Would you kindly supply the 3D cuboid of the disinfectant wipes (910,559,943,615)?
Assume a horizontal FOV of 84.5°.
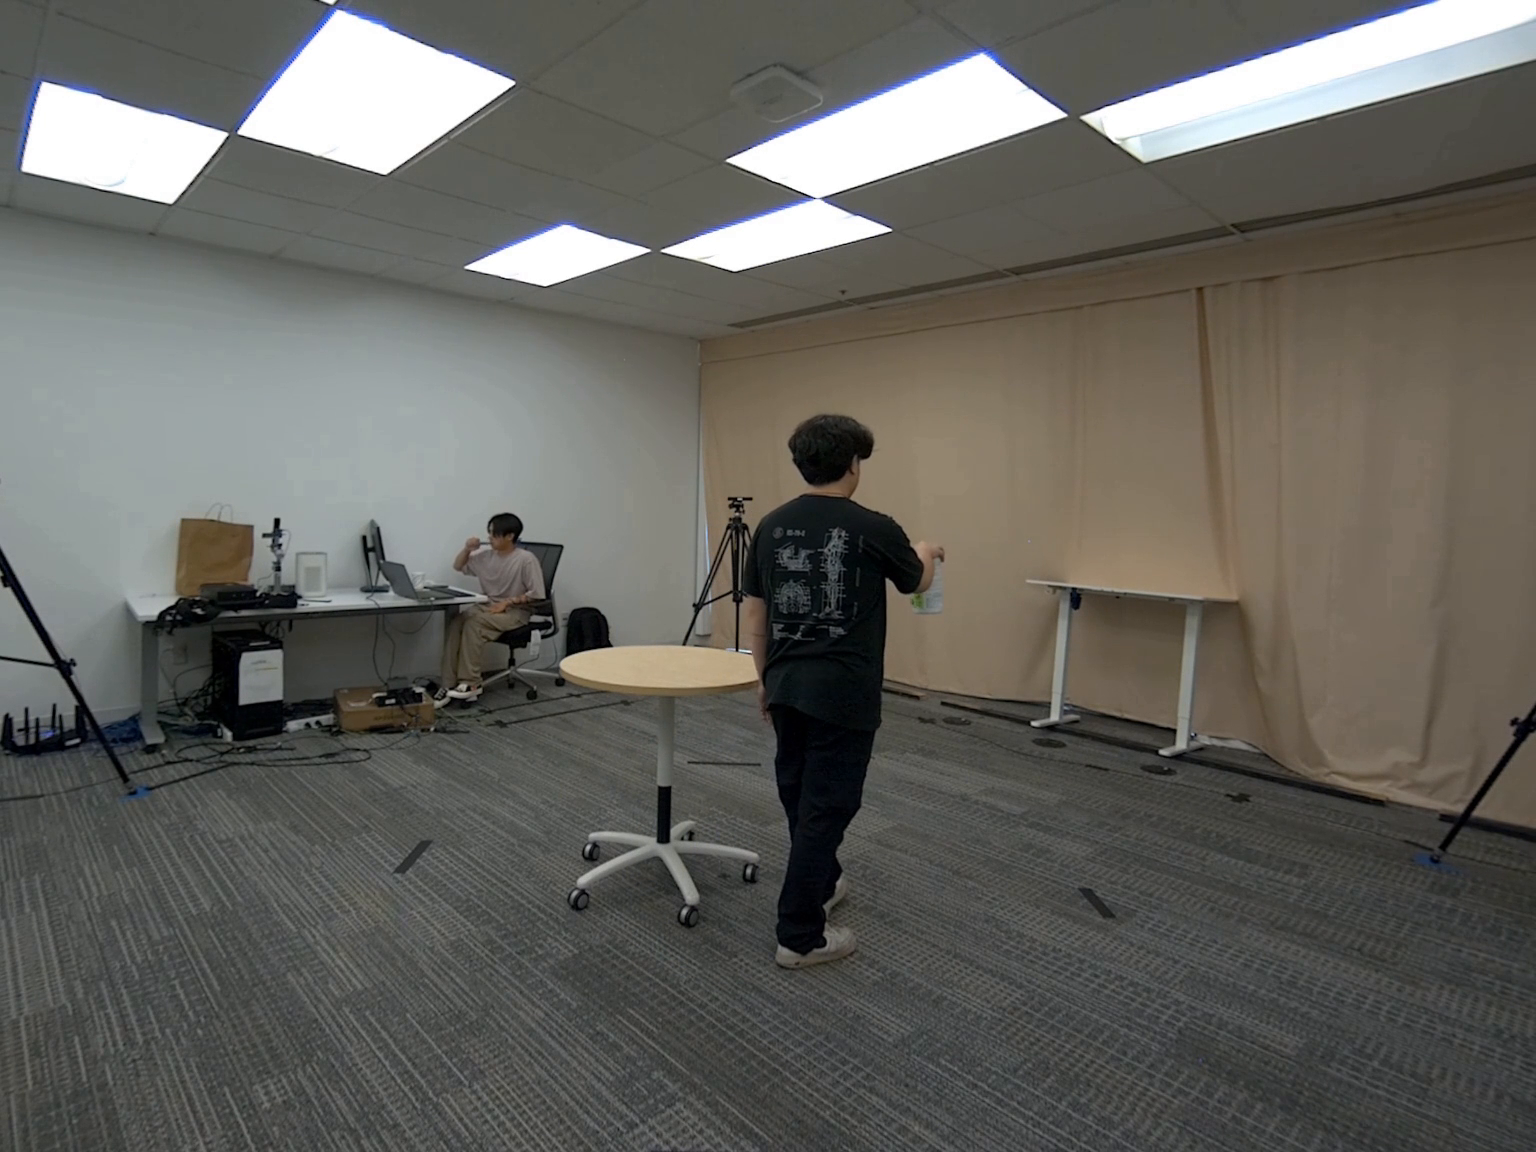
[{"bbox_3d":[0.553,0.024,2.972,0.118,0.216,0.118,-3,5,-1],"label":"disinfectant wipes"}]
